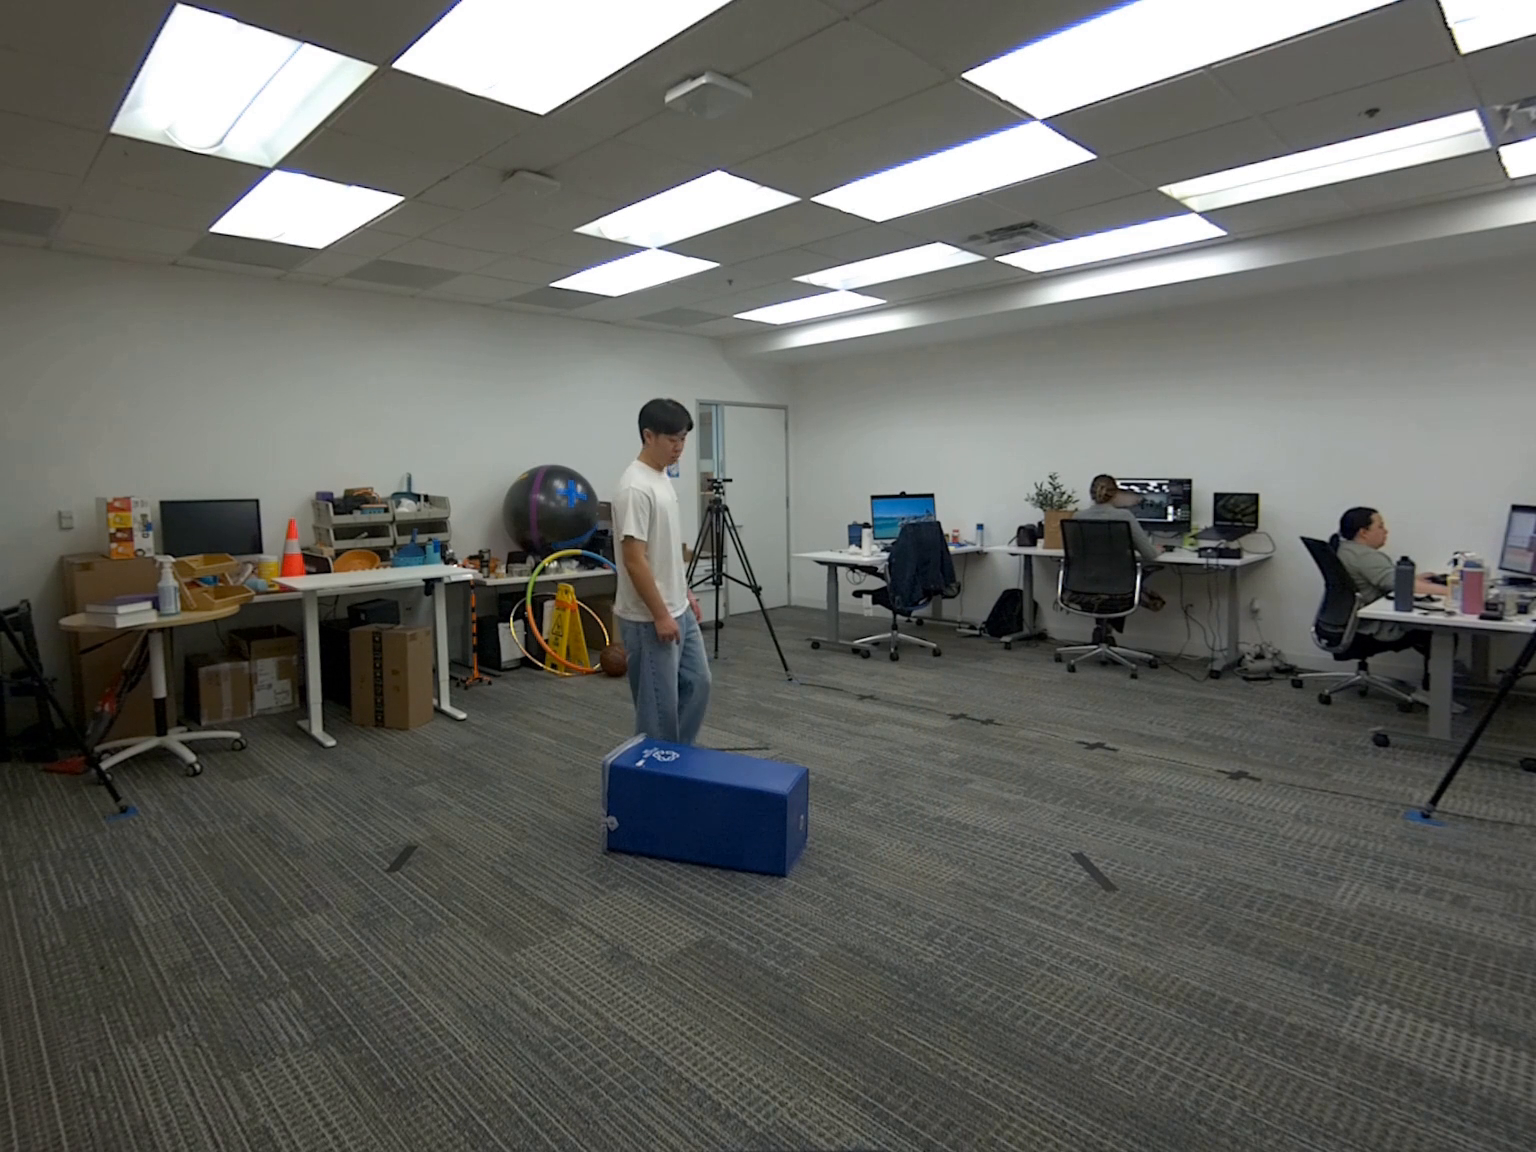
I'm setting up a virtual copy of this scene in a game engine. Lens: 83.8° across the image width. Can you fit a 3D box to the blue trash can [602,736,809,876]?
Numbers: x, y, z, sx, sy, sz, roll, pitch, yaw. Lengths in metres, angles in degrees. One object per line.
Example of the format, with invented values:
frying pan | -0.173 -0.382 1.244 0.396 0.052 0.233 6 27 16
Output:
blue trash can | -0.230 0.866 3.235 0.727 0.376 0.368 4 6 19
